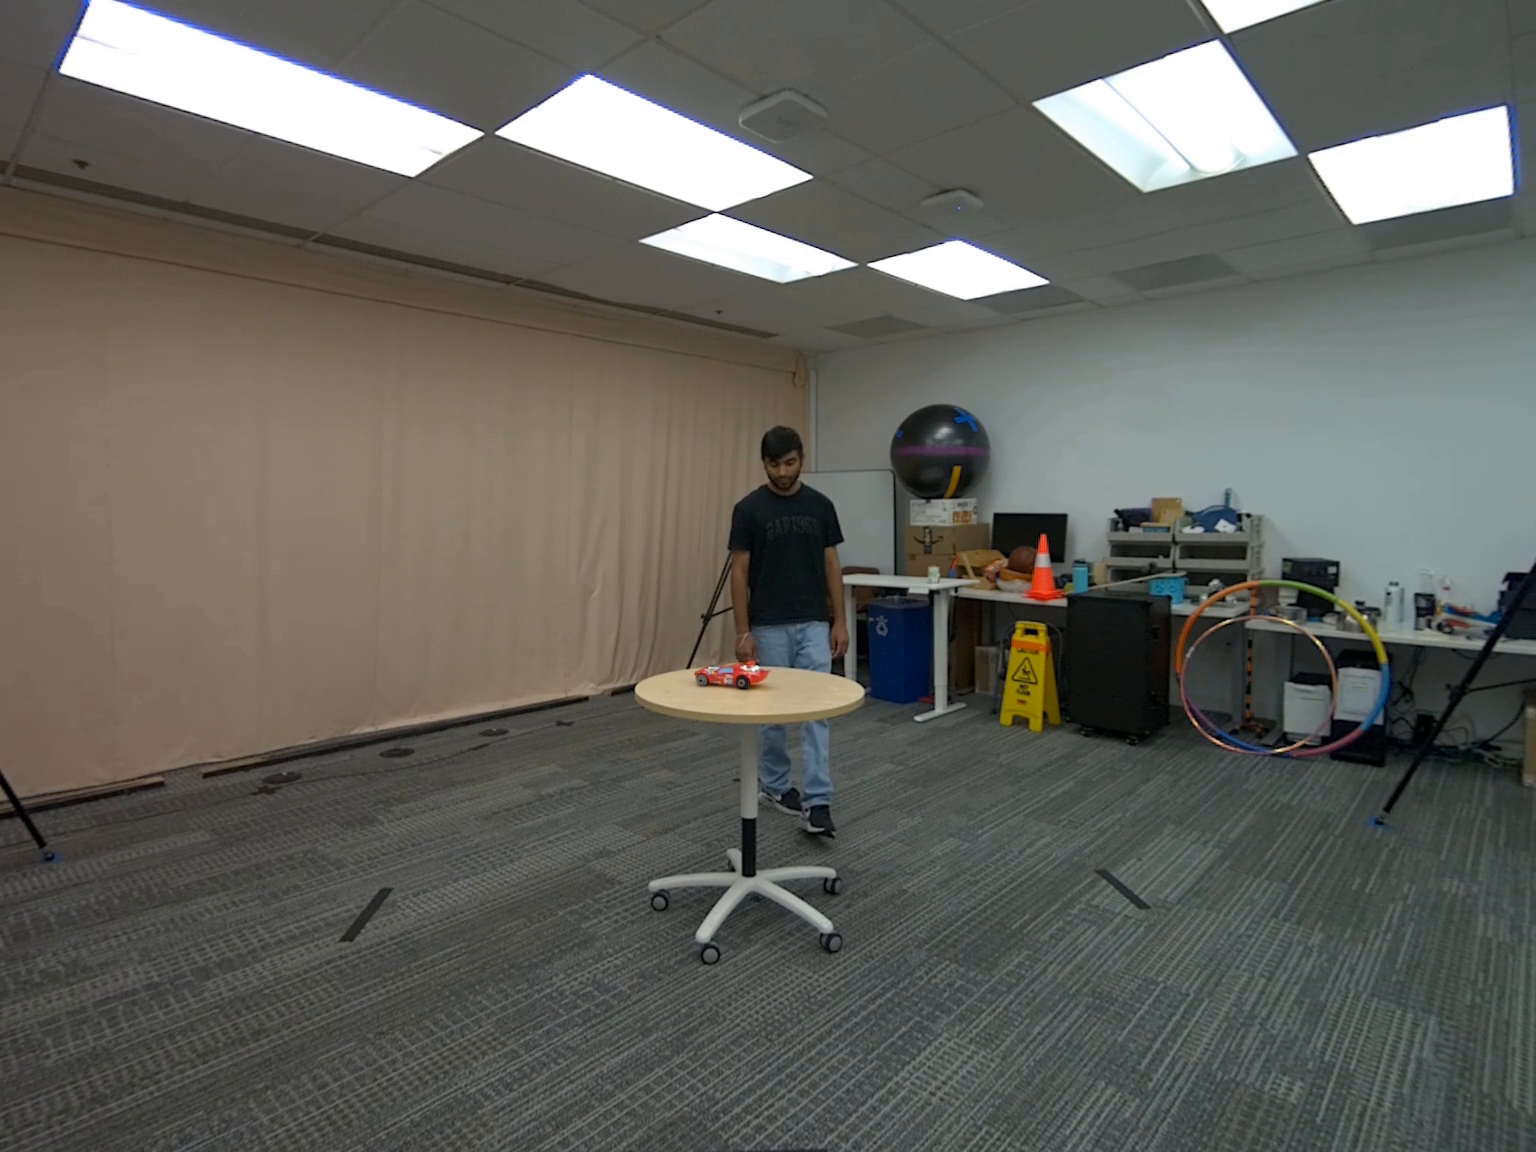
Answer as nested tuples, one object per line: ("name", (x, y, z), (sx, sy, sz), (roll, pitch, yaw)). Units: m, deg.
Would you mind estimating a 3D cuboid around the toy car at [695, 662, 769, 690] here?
("toy car", (-0.118, 0.341, 2.850), (0.259, 0.083, 0.128), (-10, 0, 20))
